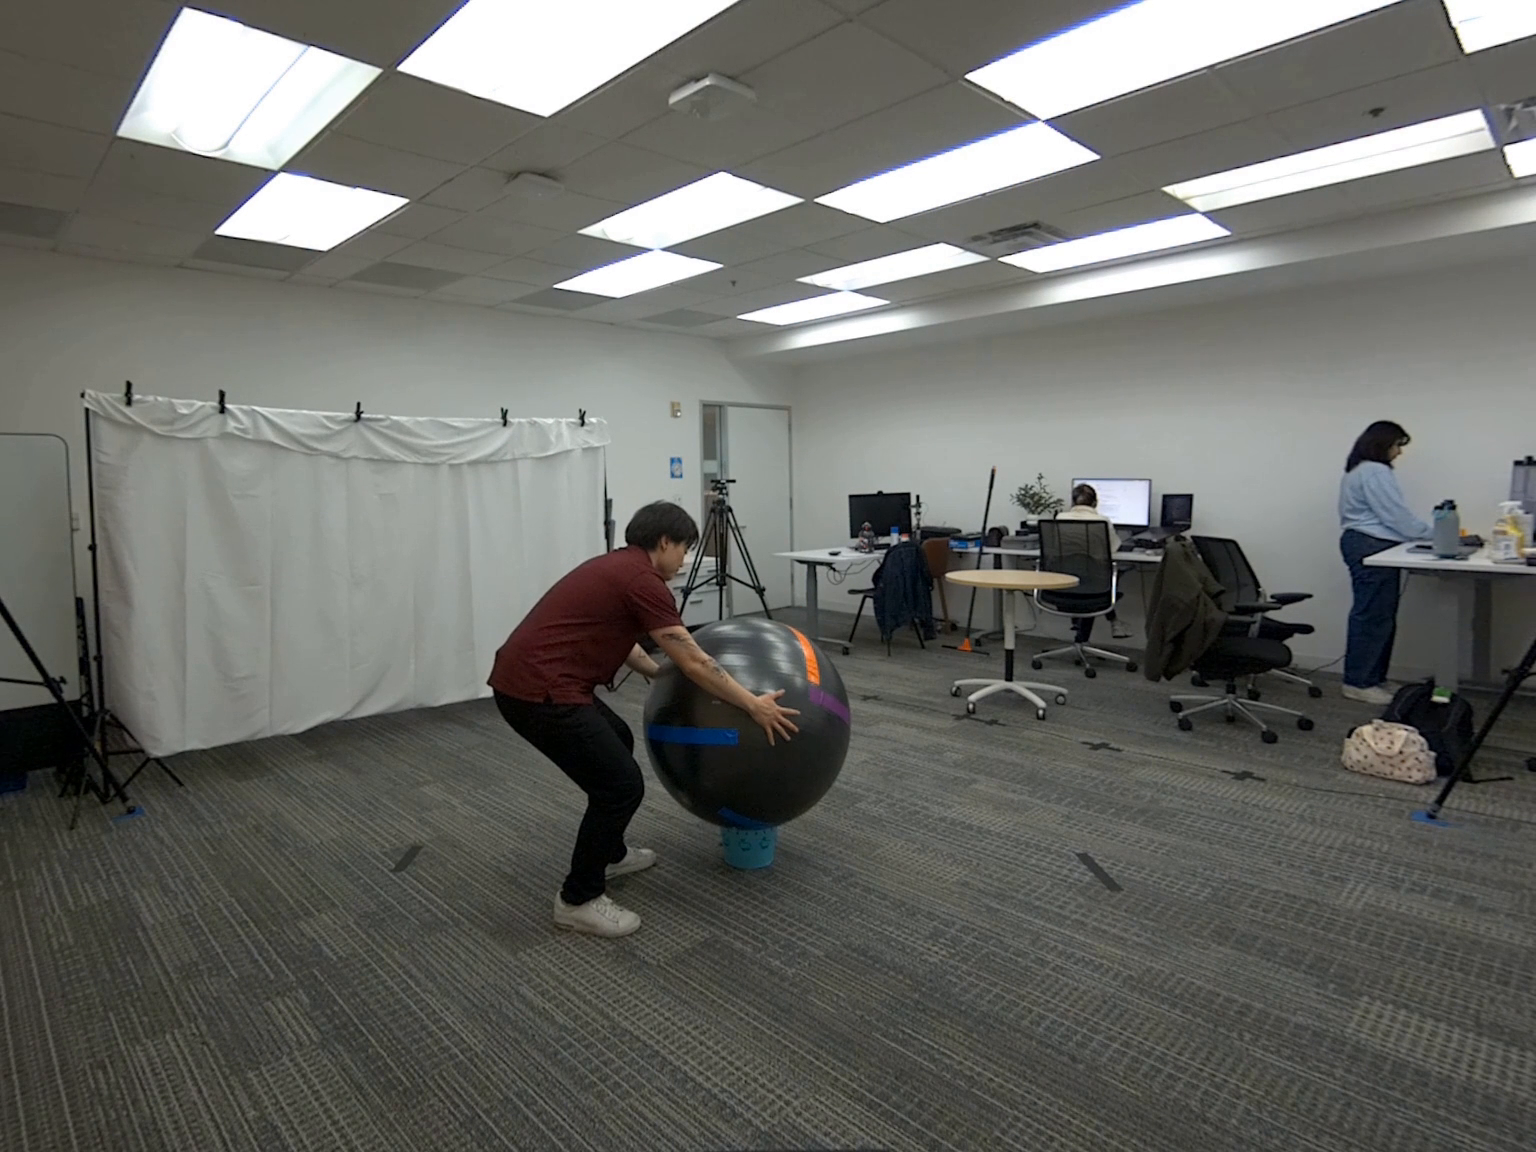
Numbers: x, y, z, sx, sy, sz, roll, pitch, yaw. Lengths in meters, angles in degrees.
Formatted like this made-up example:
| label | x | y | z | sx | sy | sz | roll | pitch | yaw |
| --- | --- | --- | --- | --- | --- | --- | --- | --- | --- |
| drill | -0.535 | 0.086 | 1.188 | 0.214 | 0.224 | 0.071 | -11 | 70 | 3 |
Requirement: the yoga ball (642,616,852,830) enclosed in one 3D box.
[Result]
| label | x | y | z | sx | sy | sz | roll | pitch | yaw |
| --- | --- | --- | --- | --- | --- | --- | --- | --- | --- |
| yoga ball | -0.075 | 0.540 | 3.133 | 0.757 | 0.755 | 0.762 | -1 | 5 | -2 |
